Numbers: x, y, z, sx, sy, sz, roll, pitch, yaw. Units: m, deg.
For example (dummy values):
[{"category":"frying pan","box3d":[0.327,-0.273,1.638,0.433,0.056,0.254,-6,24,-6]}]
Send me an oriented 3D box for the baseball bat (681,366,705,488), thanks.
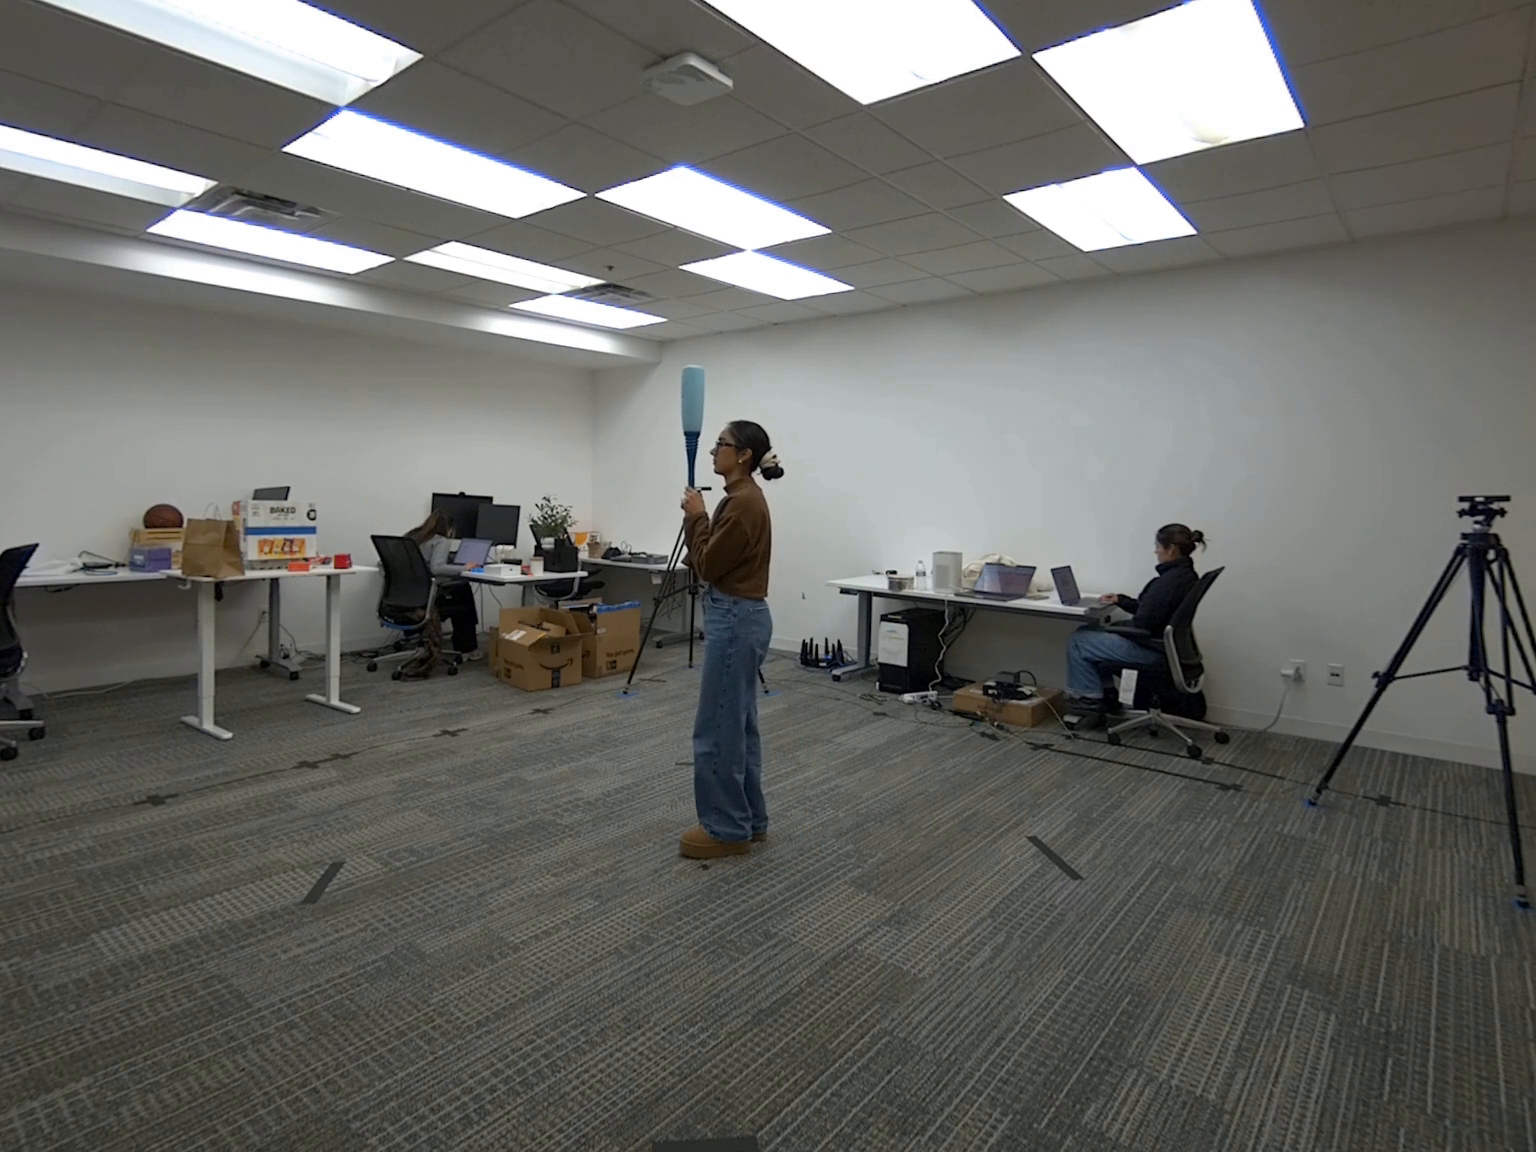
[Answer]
[{"category":"baseball bat","box3d":[-0.298,-0.543,3.285,0.089,0.541,0.089,-1,4,-2]}]
